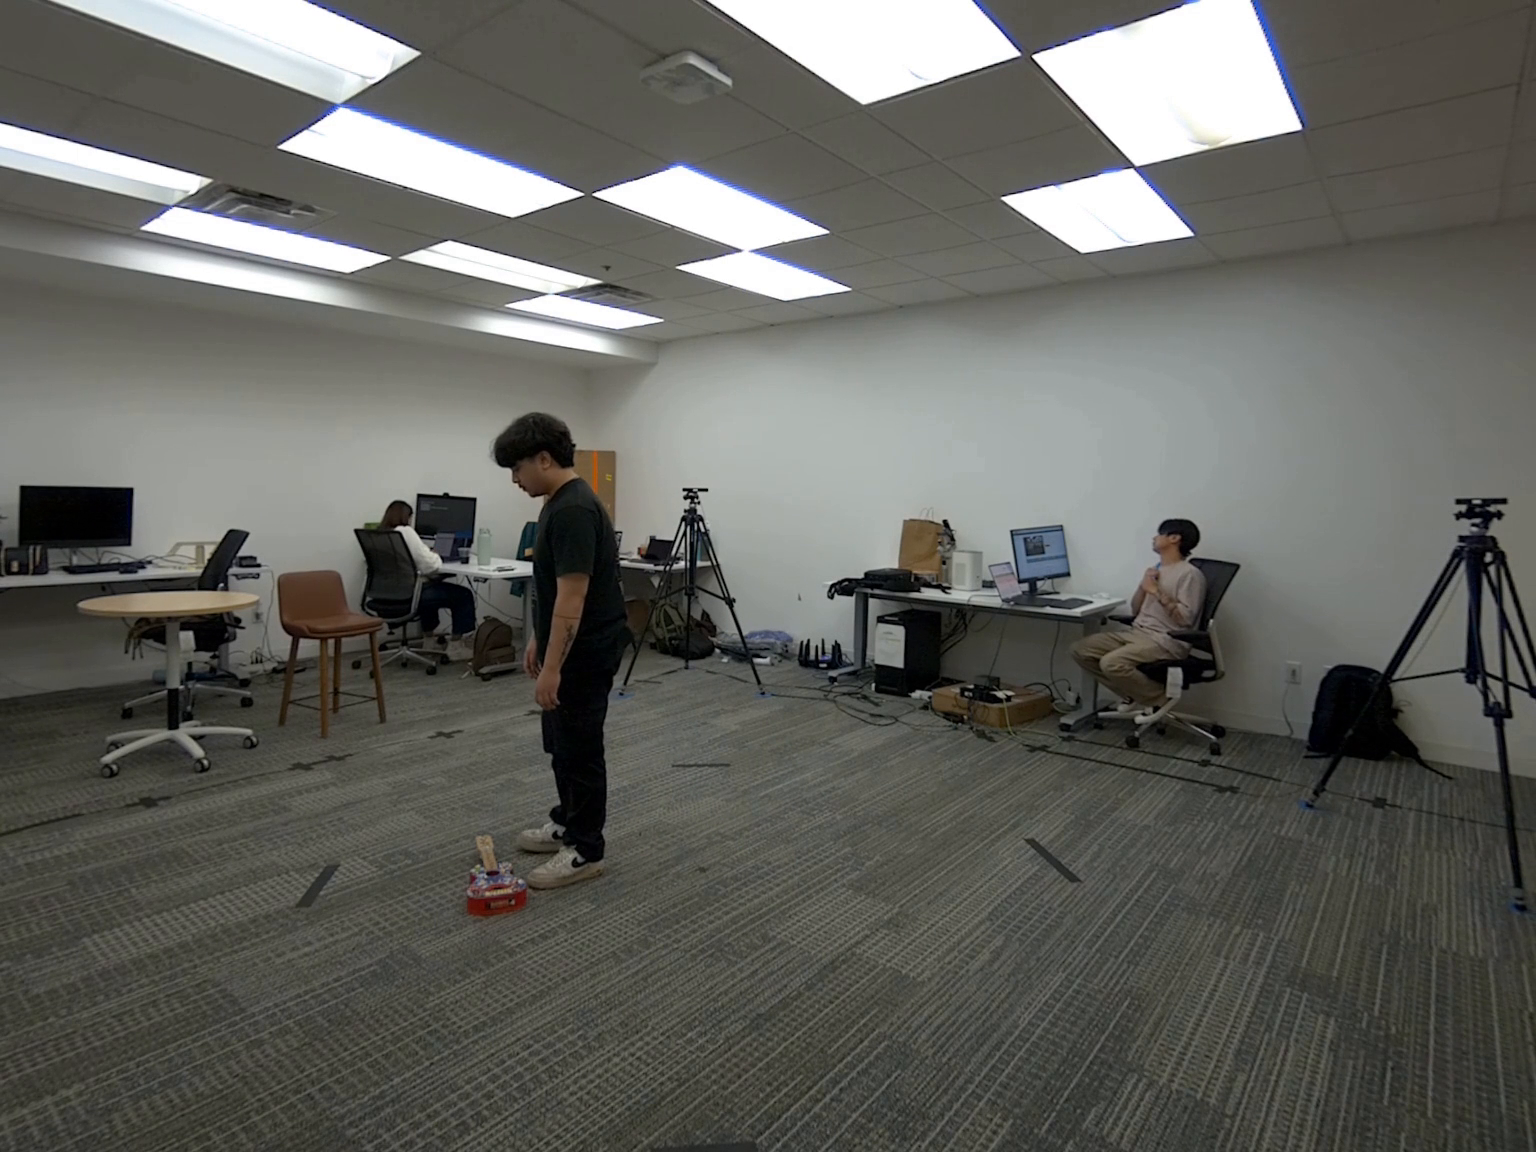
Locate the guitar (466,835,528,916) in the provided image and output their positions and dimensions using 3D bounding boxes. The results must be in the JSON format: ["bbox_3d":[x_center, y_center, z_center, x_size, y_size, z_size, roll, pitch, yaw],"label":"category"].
[{"bbox_3d":[-0.958,1.033,2.993,0.190,0.070,0.508,-2,7,-15],"label":"guitar"}]
